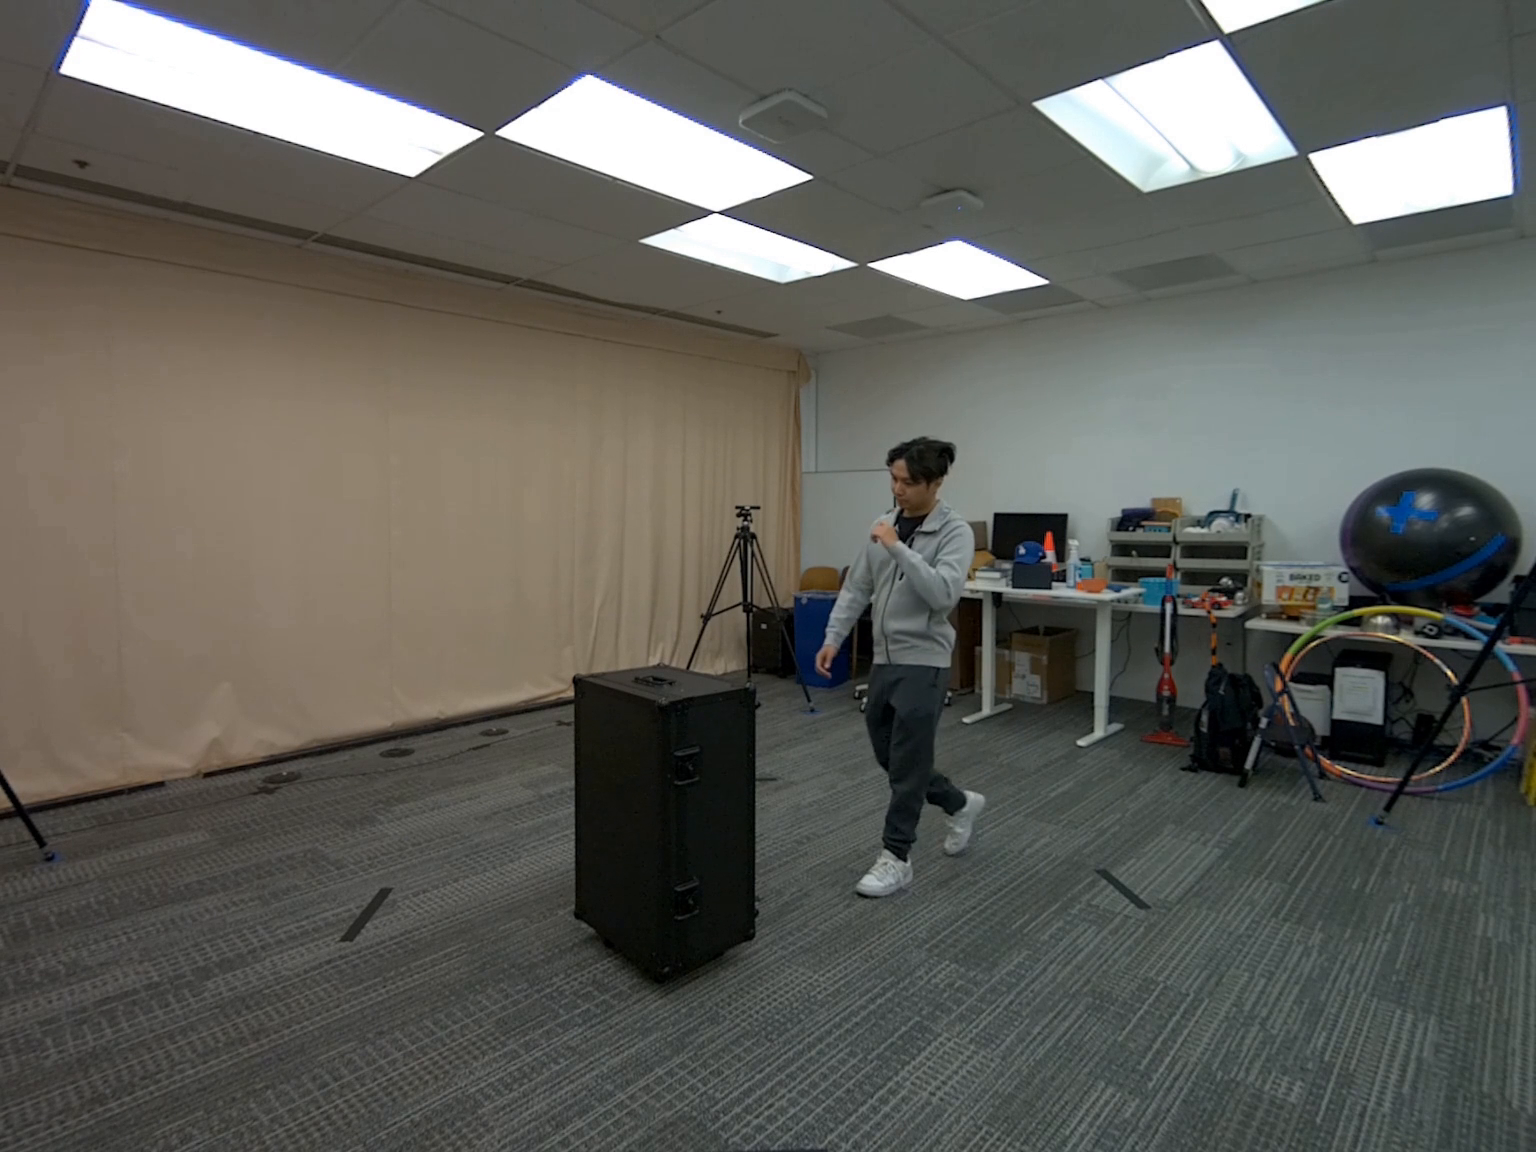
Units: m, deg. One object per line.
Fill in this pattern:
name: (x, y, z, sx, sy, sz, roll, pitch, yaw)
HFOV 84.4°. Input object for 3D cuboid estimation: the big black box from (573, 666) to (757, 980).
big black box: (-0.324, 0.752, 2.640, 0.384, 0.860, 0.538, -1, 3, -42)
